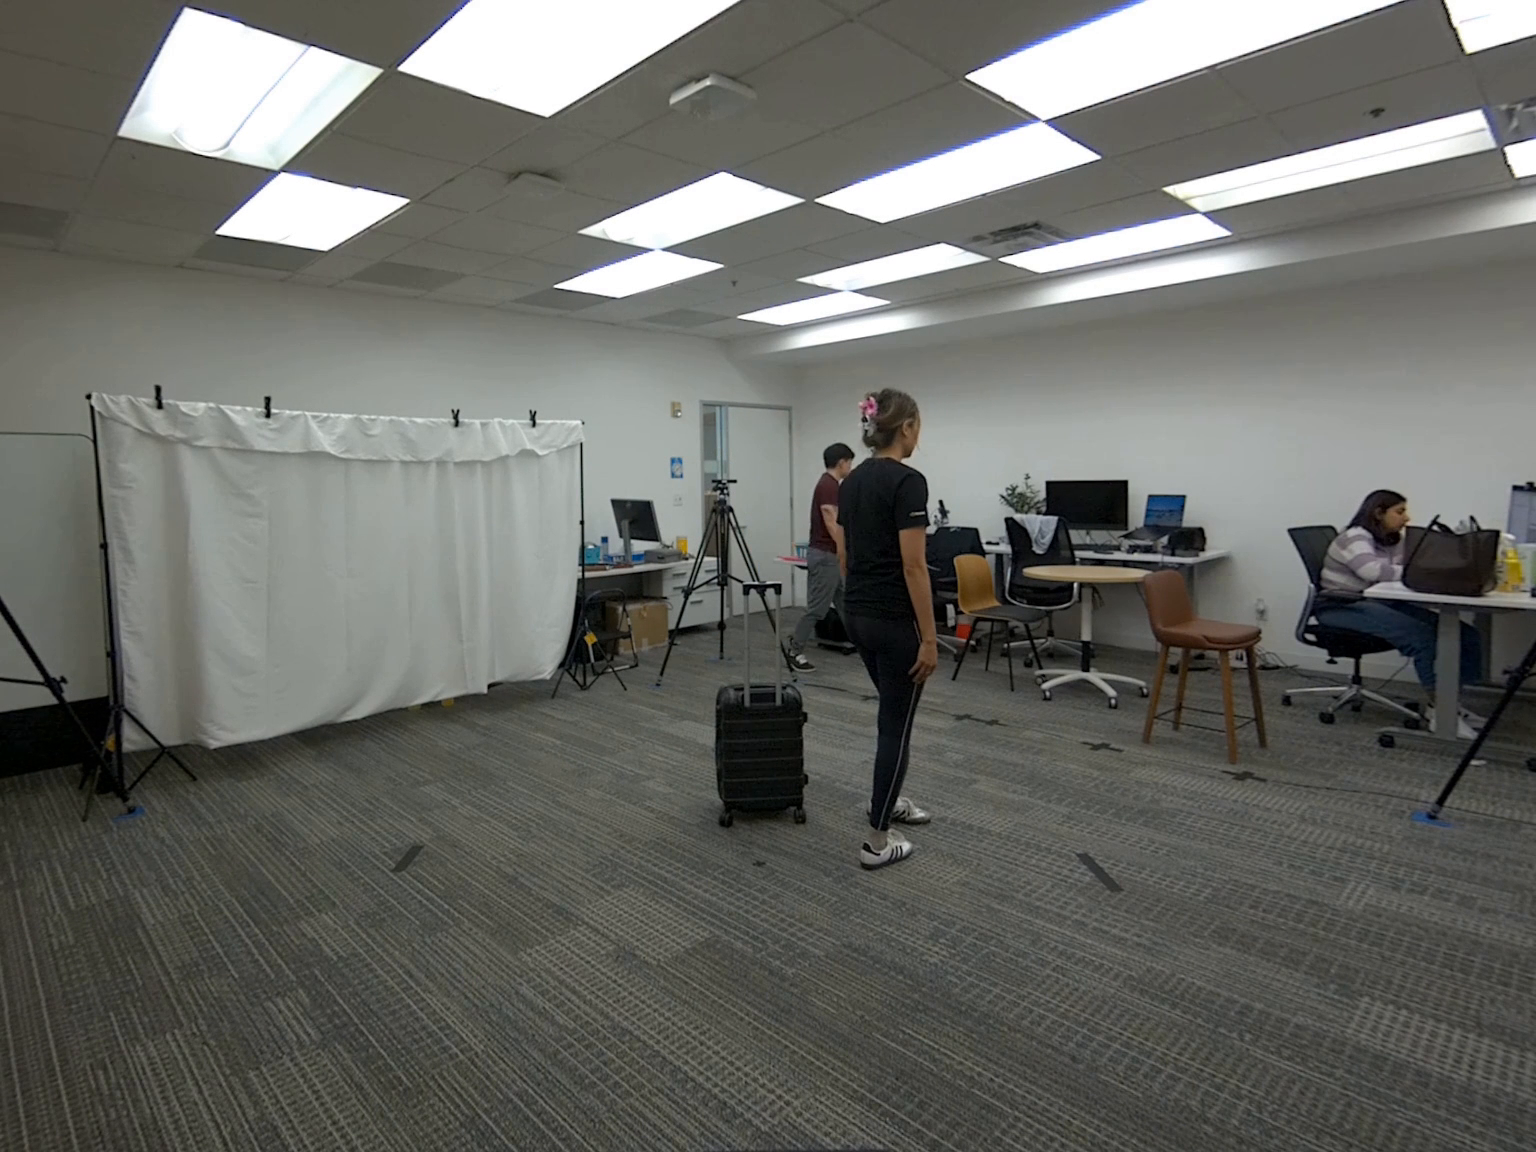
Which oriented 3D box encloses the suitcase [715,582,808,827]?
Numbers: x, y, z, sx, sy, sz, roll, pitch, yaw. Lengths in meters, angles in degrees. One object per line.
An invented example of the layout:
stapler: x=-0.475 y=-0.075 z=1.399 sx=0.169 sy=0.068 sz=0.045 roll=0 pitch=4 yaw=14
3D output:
suitcase: x=-0.039 y=0.520 z=3.571 sx=0.382 sy=0.977 sz=0.258 roll=-1 pitch=2 yaw=-5
